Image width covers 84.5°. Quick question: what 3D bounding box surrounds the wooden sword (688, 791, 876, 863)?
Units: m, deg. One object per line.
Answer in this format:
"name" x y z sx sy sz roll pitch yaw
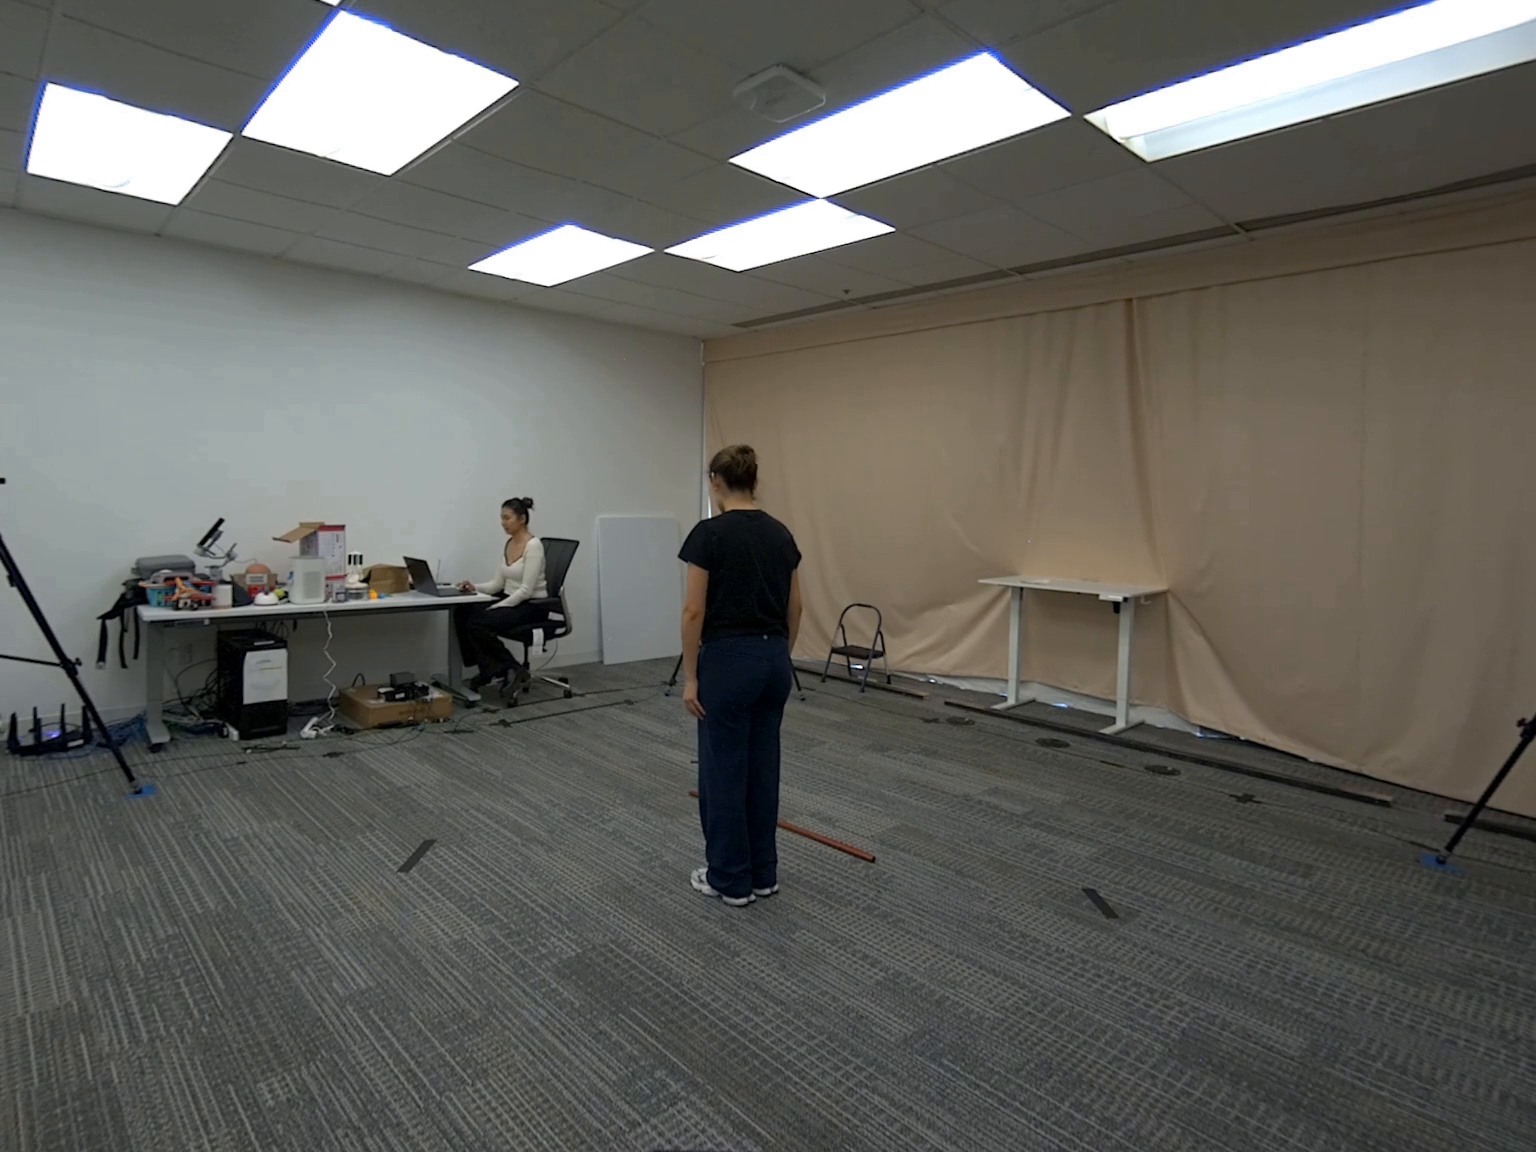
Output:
"wooden sword" 0.018 1.048 3.579 1.051 0.024 0.050 6 1 41
